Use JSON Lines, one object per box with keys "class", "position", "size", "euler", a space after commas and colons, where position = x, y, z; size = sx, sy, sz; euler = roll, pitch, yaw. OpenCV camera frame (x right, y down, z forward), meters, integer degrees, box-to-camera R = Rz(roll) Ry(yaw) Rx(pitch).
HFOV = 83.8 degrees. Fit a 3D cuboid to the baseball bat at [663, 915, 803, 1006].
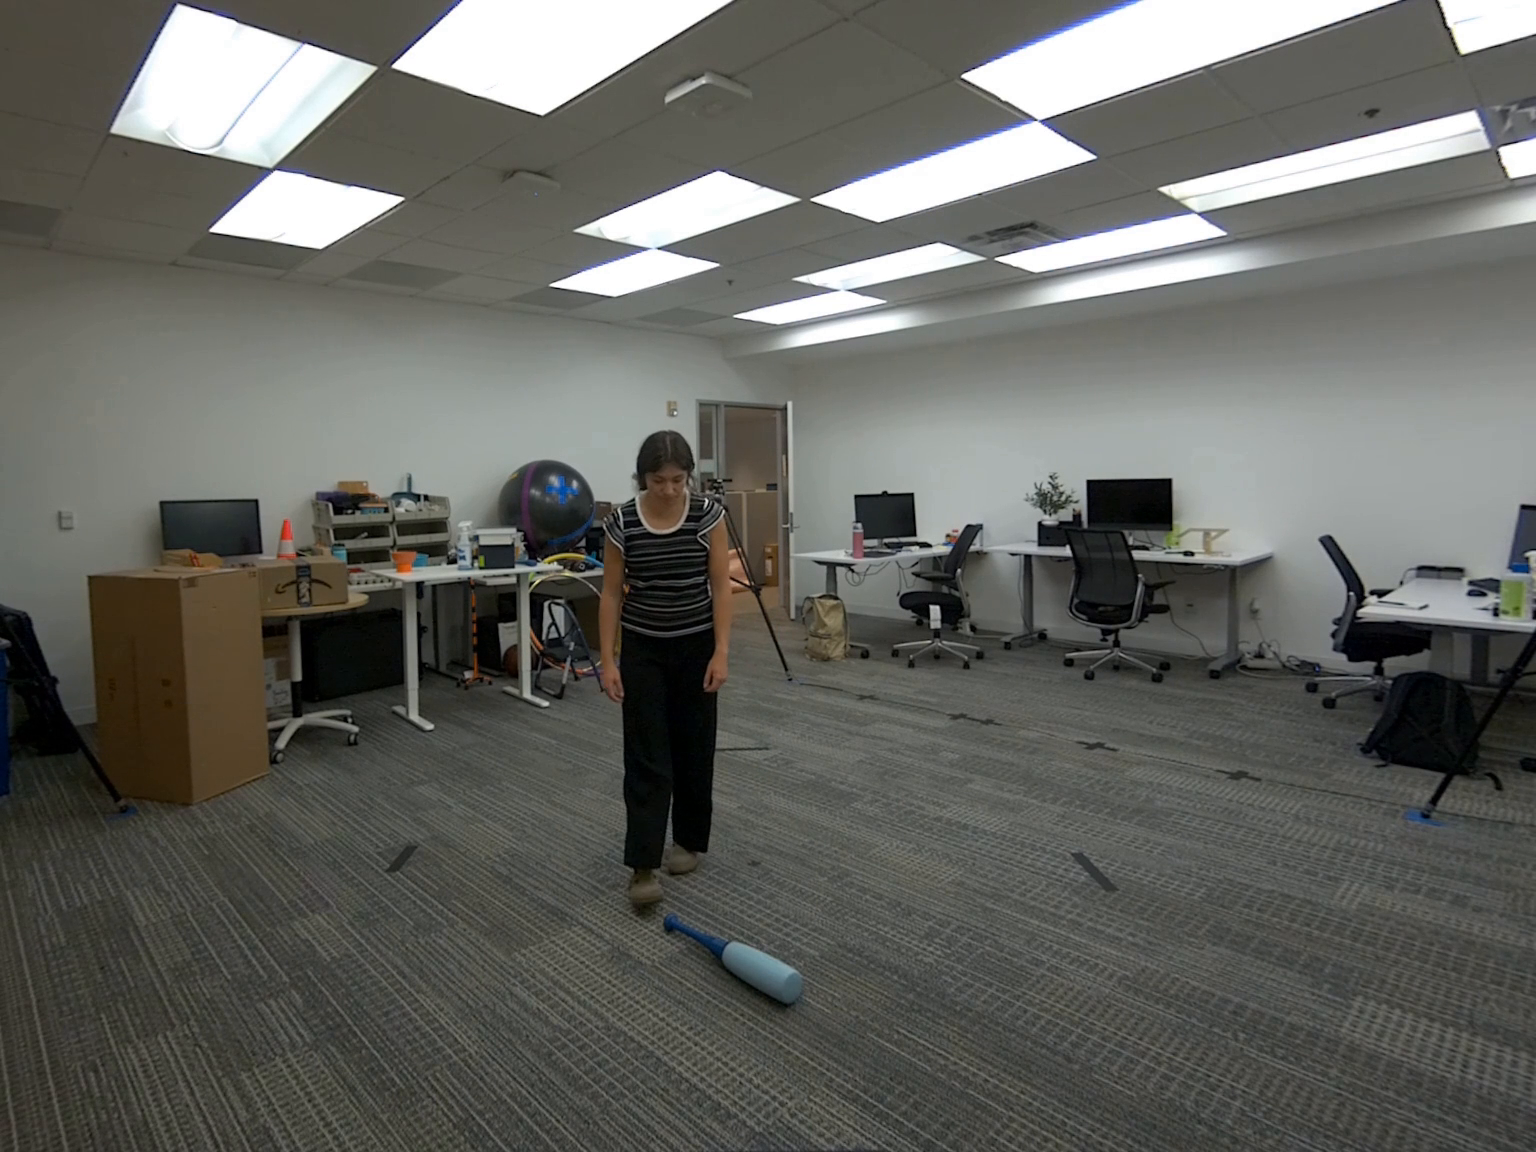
{"class": "baseball bat", "position": [-0.117, 1.088, 2.457], "size": [0.087, 0.089, 0.559], "euler": [-5, 4, -43]}
